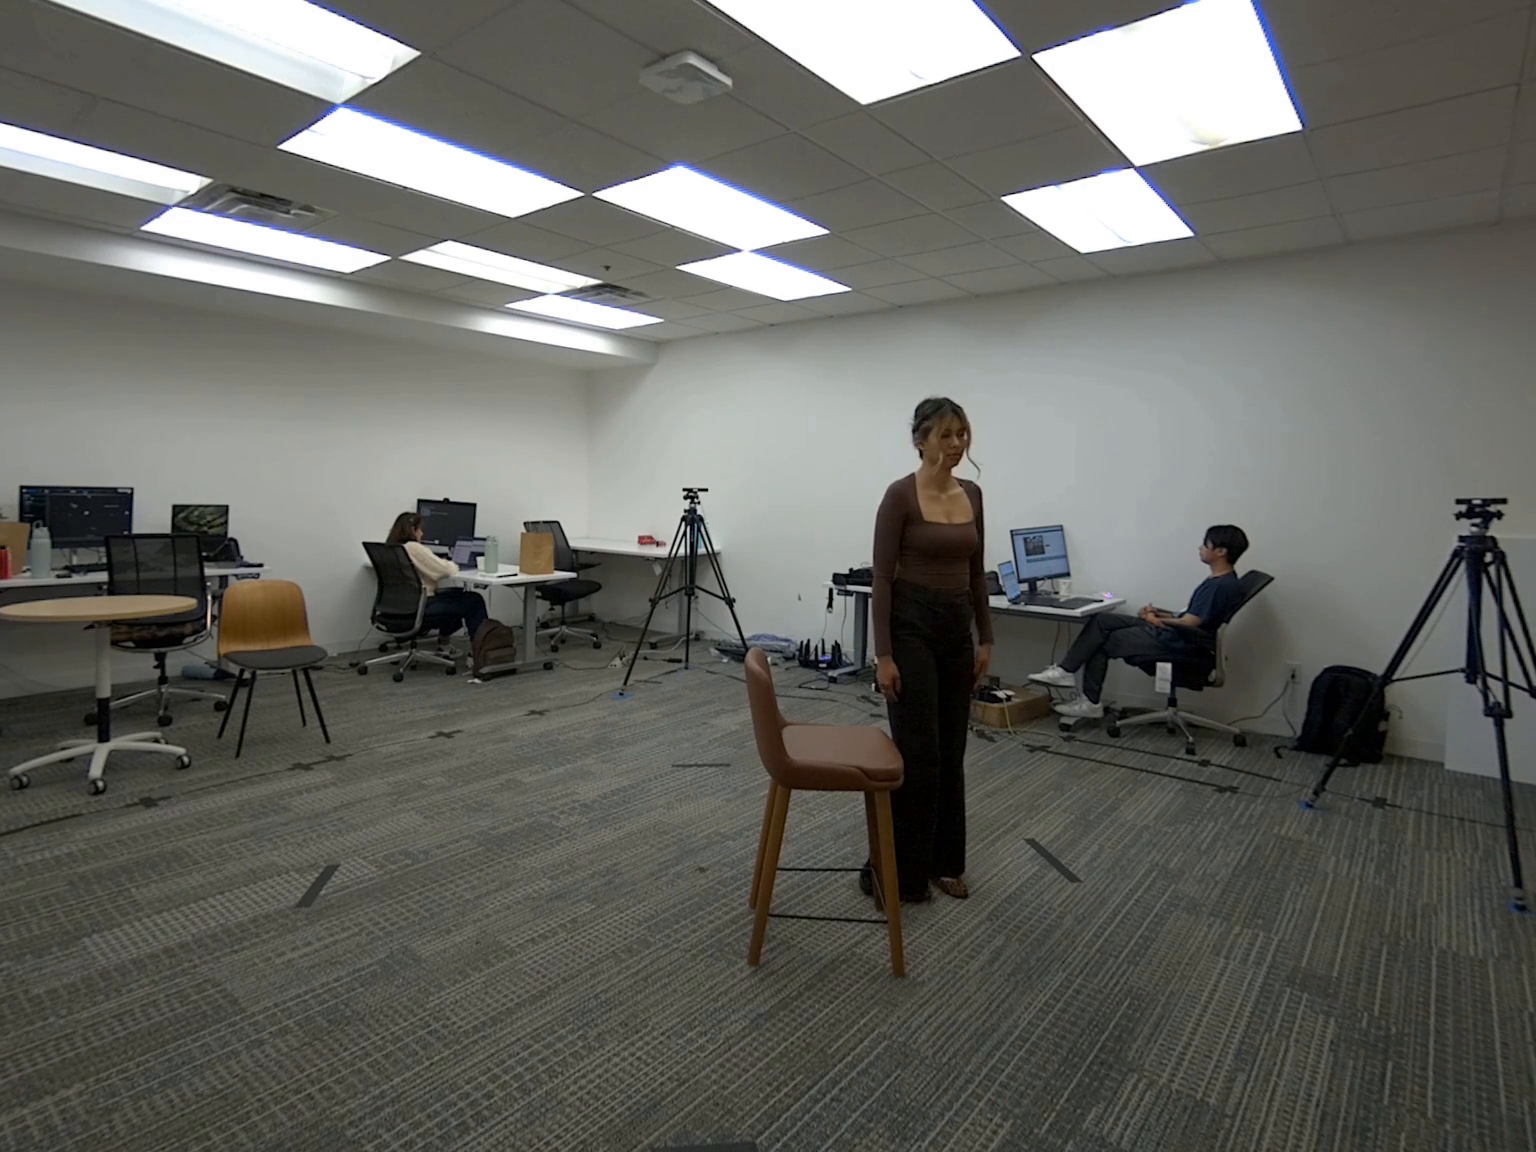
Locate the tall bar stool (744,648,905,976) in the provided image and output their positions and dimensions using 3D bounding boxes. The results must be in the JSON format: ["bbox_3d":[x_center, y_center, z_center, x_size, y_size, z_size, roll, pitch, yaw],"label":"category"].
[{"bbox_3d":[0.167,0.688,2.631,0.469,0.887,0.457,0,3,1],"label":"tall bar stool"}]
